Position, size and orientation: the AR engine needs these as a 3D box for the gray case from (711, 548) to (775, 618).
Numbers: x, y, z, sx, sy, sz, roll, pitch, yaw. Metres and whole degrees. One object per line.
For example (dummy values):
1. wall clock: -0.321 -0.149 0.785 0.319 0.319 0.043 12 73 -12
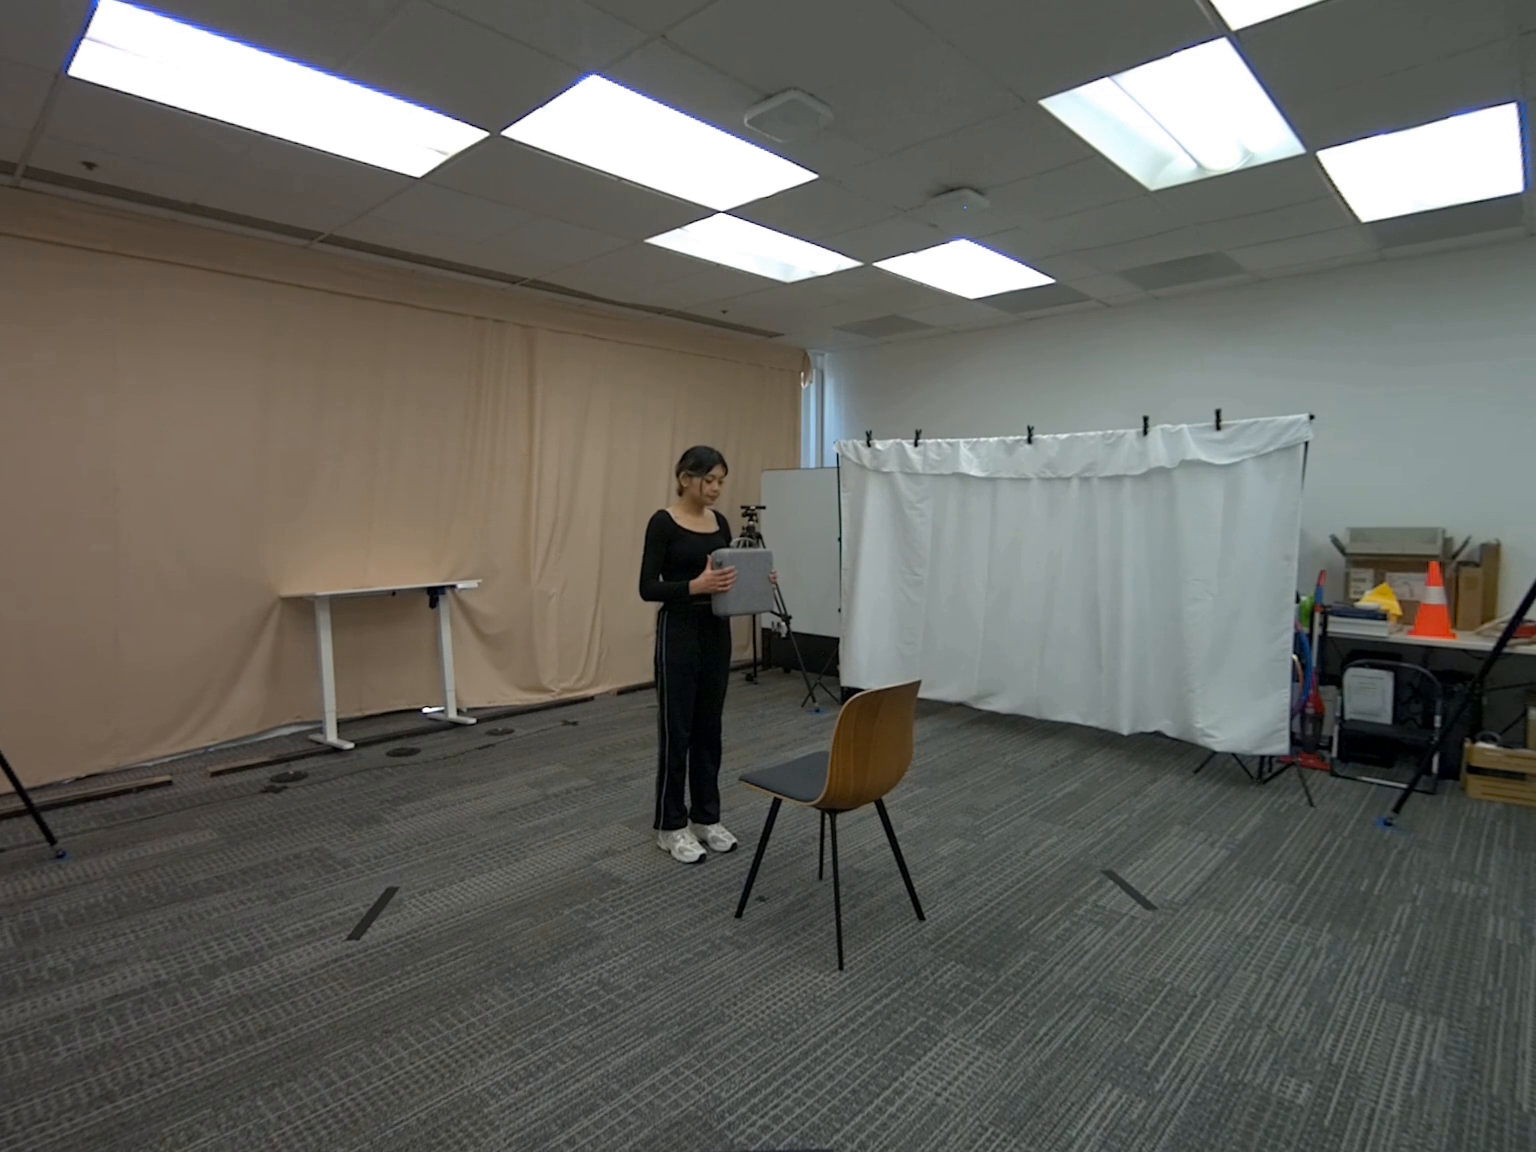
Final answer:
1. gray case: -0.089 0.019 3.214 0.249 0.260 0.107 -4 3 -40
